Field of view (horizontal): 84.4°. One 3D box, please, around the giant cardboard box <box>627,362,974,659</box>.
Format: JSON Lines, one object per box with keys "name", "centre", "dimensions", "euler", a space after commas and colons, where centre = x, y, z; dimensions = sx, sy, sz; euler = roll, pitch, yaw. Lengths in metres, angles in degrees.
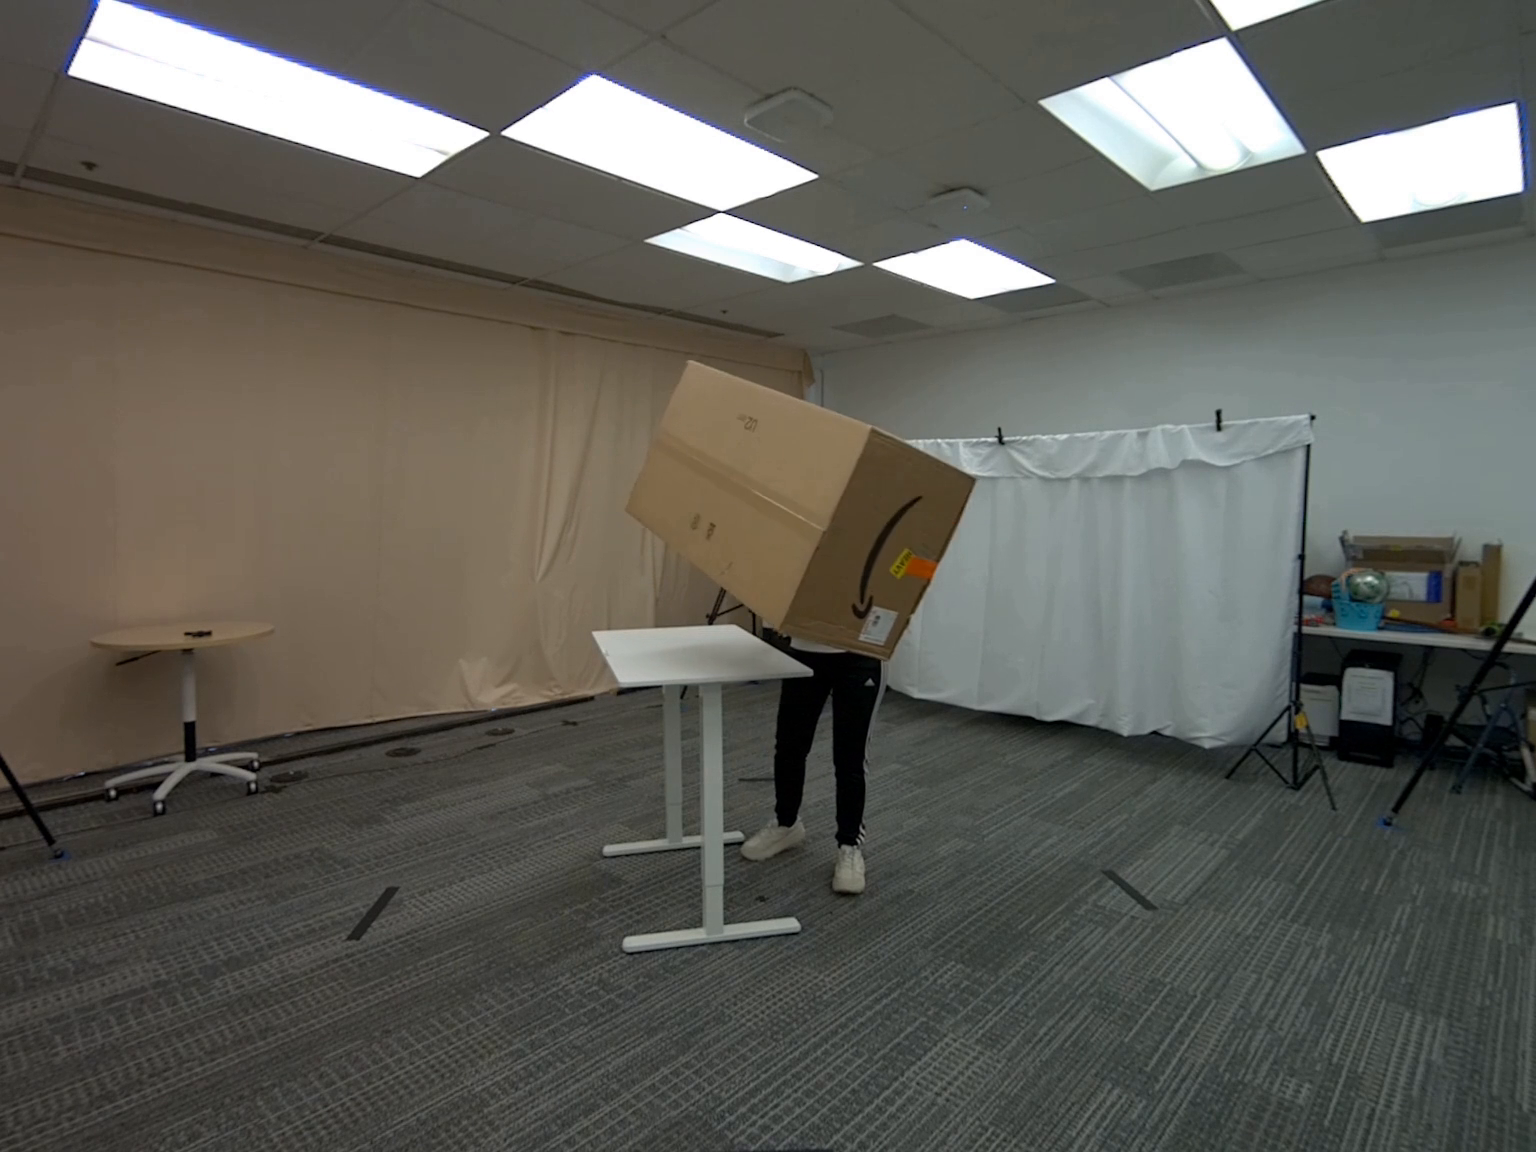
{"name": "giant cardboard box", "centre": [0.036, -0.244, 2.636], "dimensions": [0.431, 0.583, 1.064], "euler": [19, 10, -37]}
